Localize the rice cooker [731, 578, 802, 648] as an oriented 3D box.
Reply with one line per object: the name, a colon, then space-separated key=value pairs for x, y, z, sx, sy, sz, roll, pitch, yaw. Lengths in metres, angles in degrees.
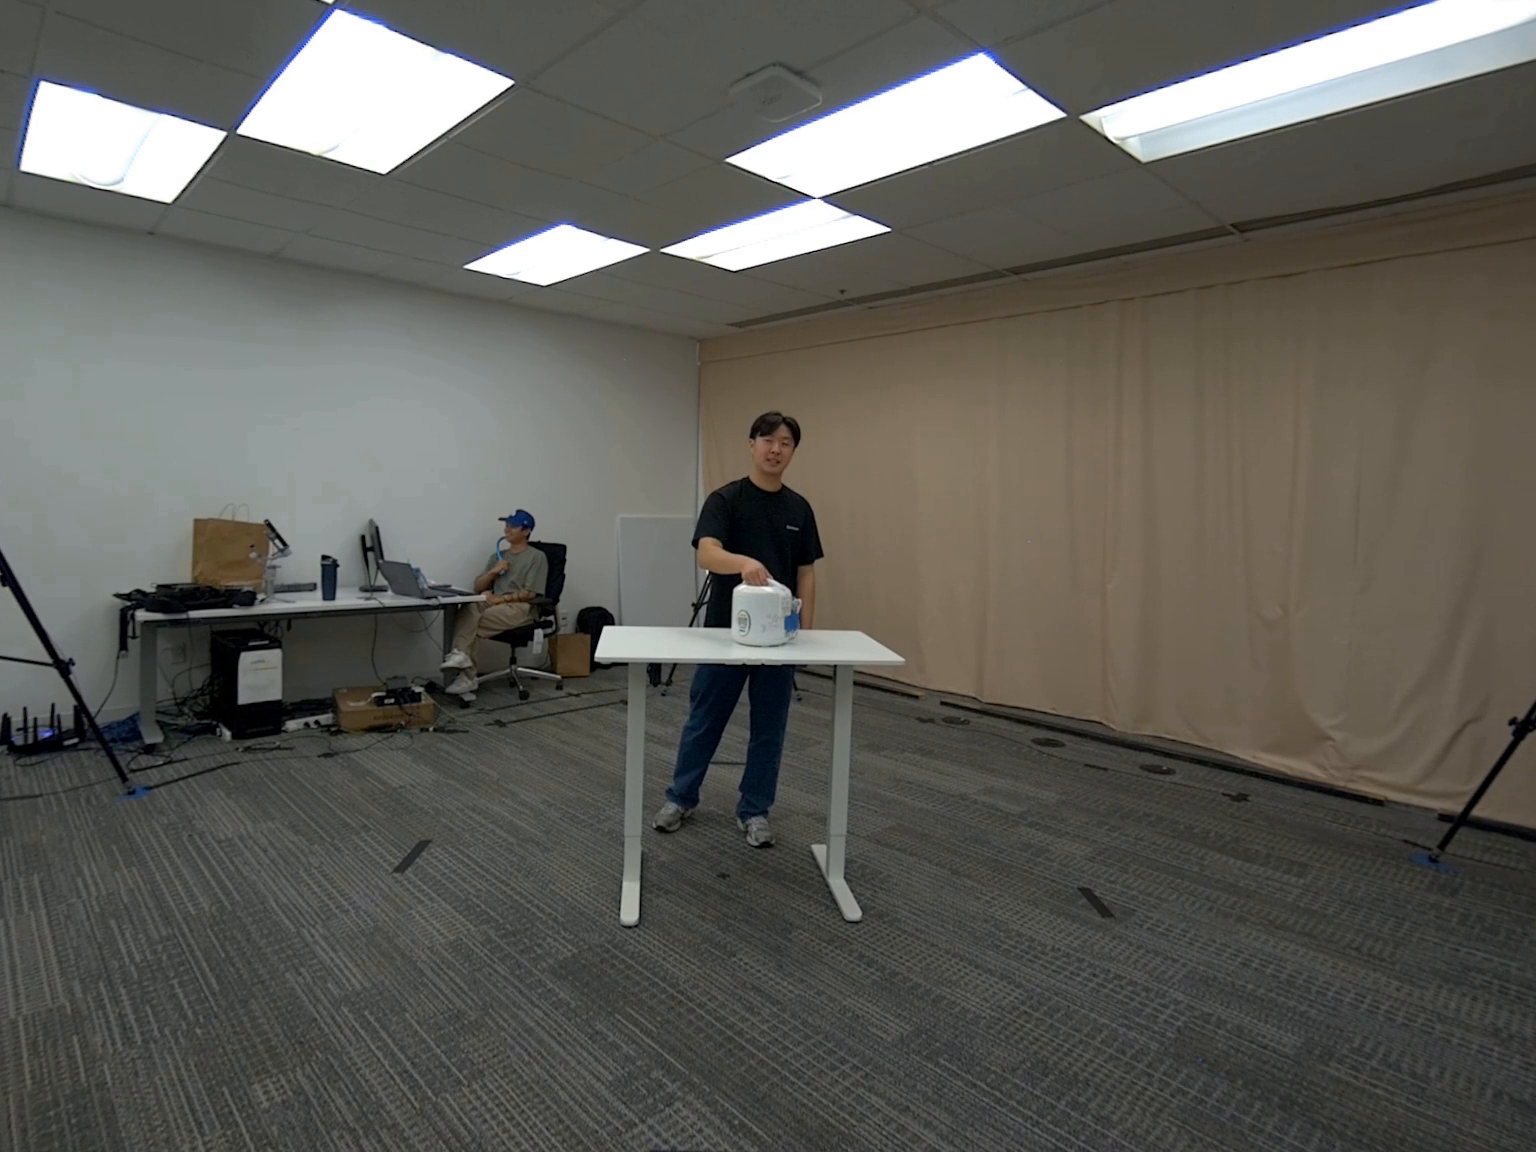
rice cooker: x=-0.033 y=0.120 z=2.974 sx=0.226 sy=0.232 sz=0.212 roll=5 pitch=4 yaw=36
